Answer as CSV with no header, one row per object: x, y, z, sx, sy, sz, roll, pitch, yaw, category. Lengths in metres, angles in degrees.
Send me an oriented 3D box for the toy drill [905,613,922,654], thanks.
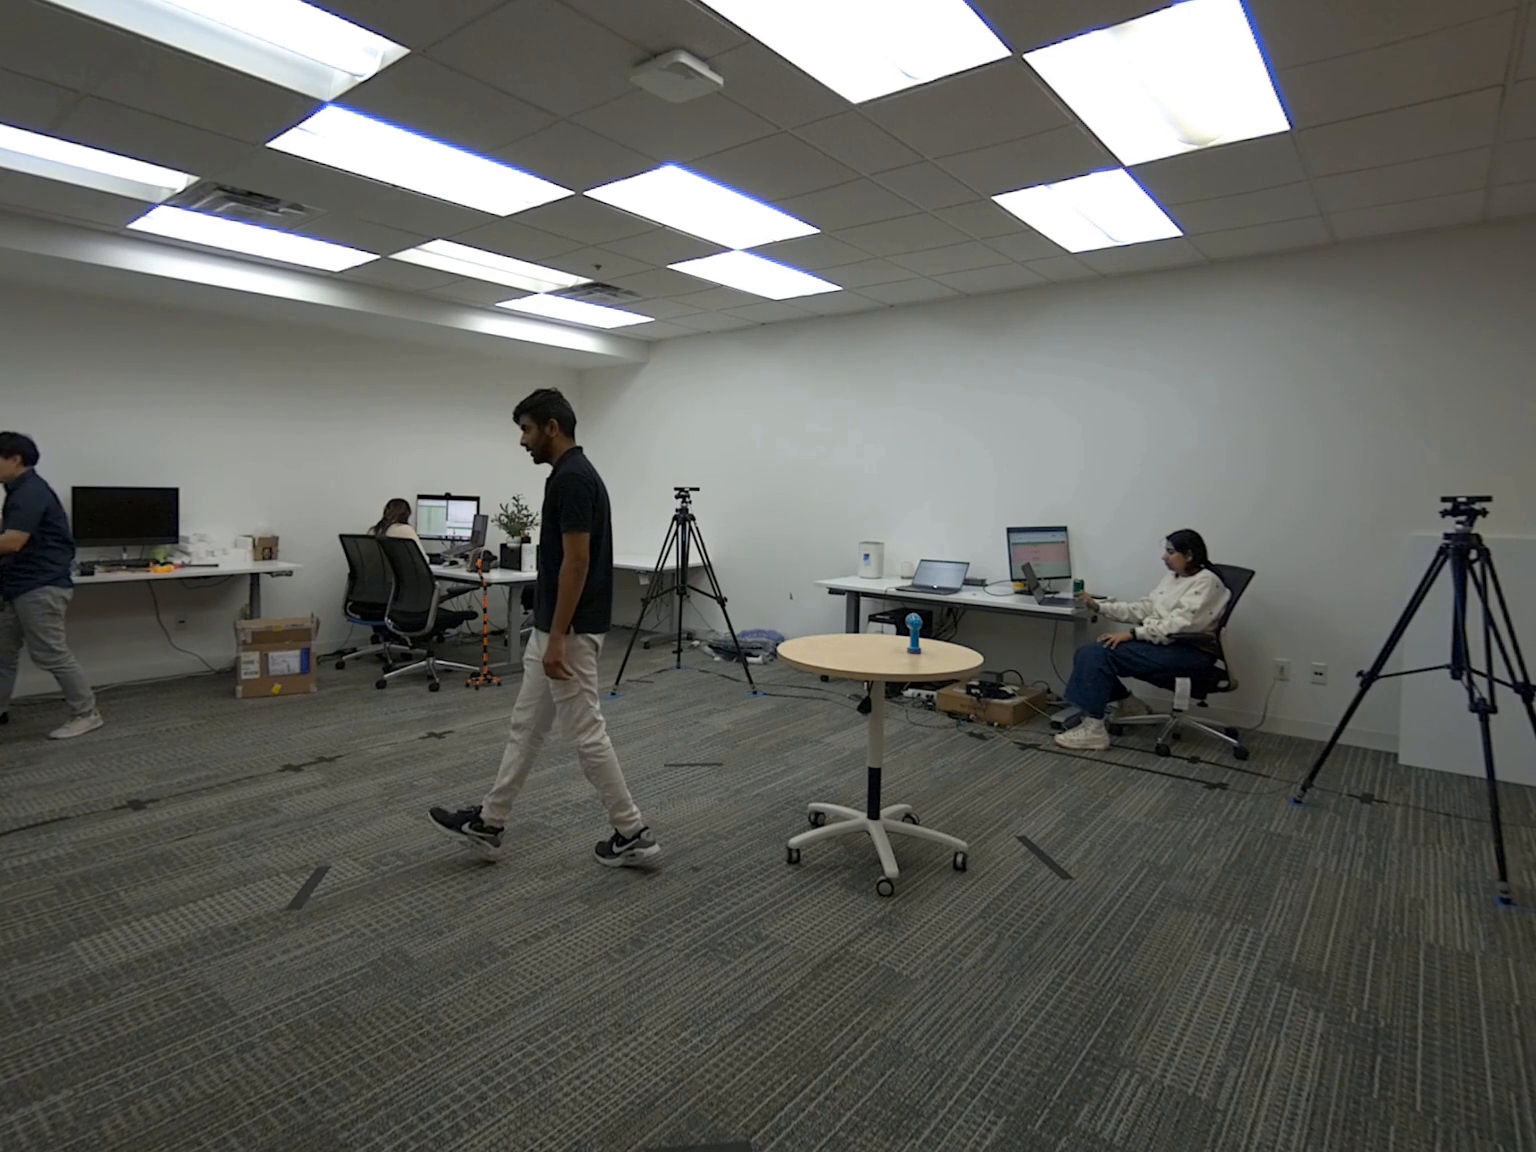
0.547,0.210,3.263,0.061,0.145,0.171,0,6,-5,toy drill
